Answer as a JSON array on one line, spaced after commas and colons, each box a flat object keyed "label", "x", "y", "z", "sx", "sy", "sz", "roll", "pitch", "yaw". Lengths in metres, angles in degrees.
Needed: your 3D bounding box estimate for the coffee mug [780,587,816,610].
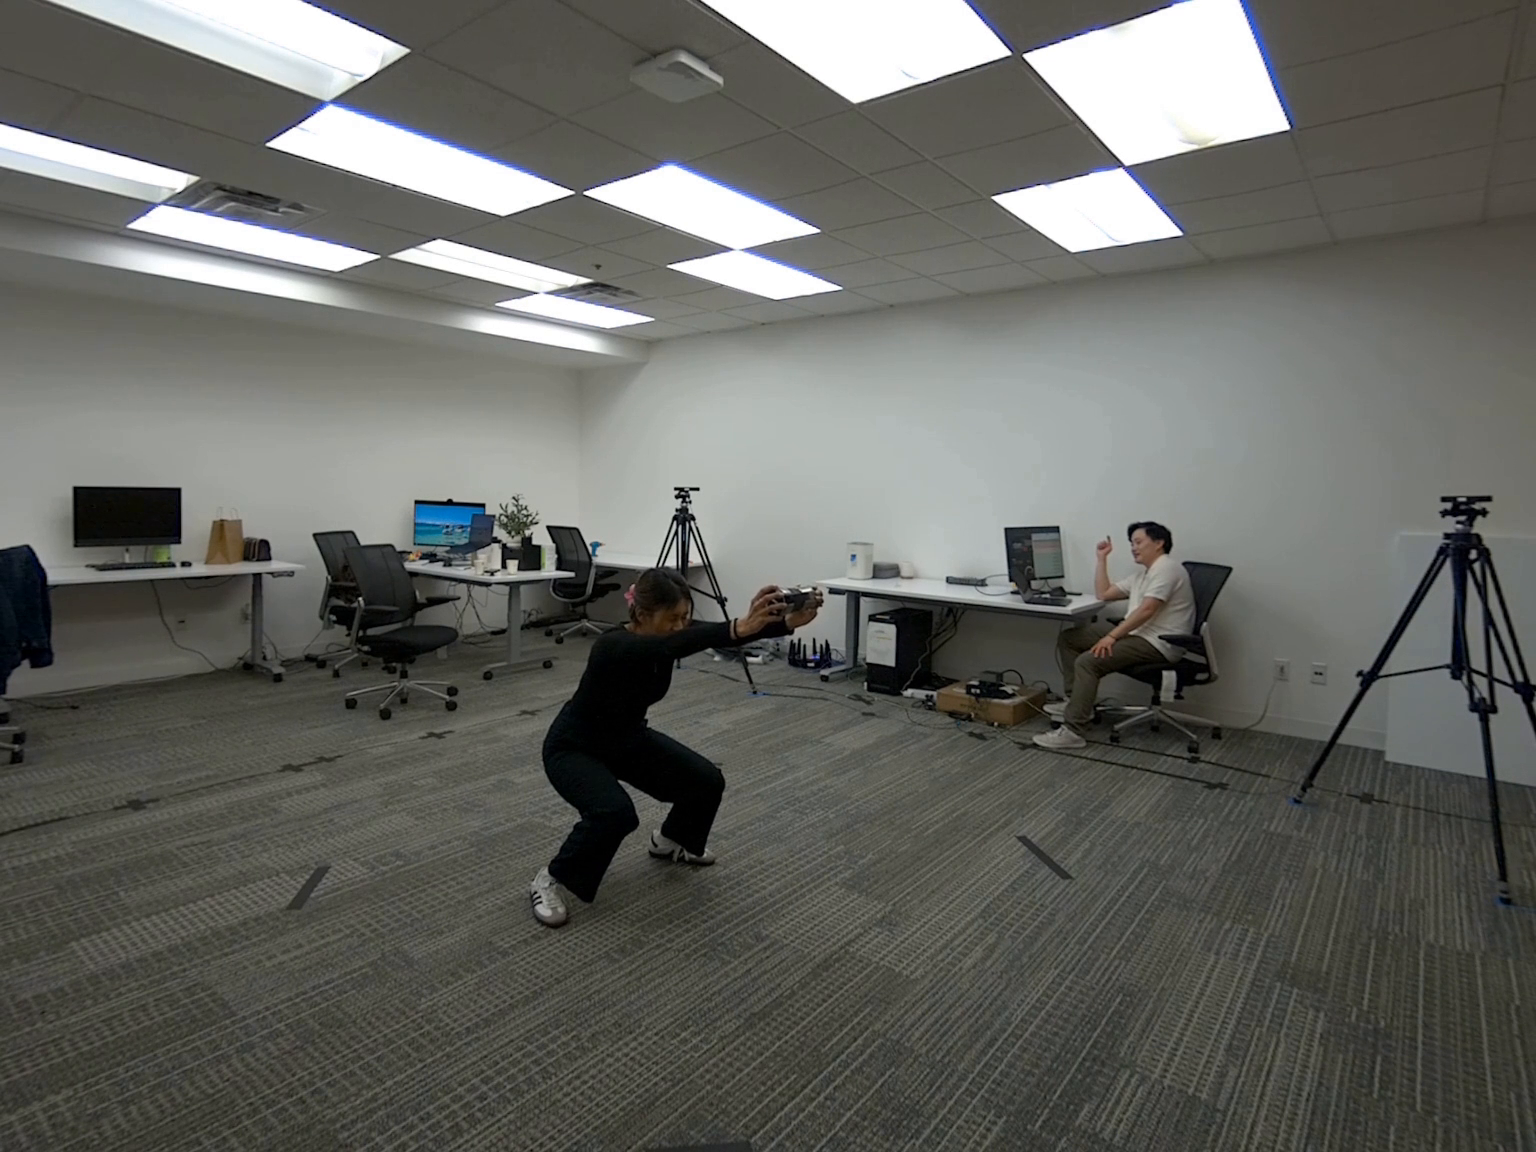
[{"label": "coffee mug", "x": 0.060, "y": 0.077, "z": 2.414, "sx": 0.197, "sy": 0.087, "sz": 0.126, "roll": -3, "pitch": 11, "yaw": -42}]
